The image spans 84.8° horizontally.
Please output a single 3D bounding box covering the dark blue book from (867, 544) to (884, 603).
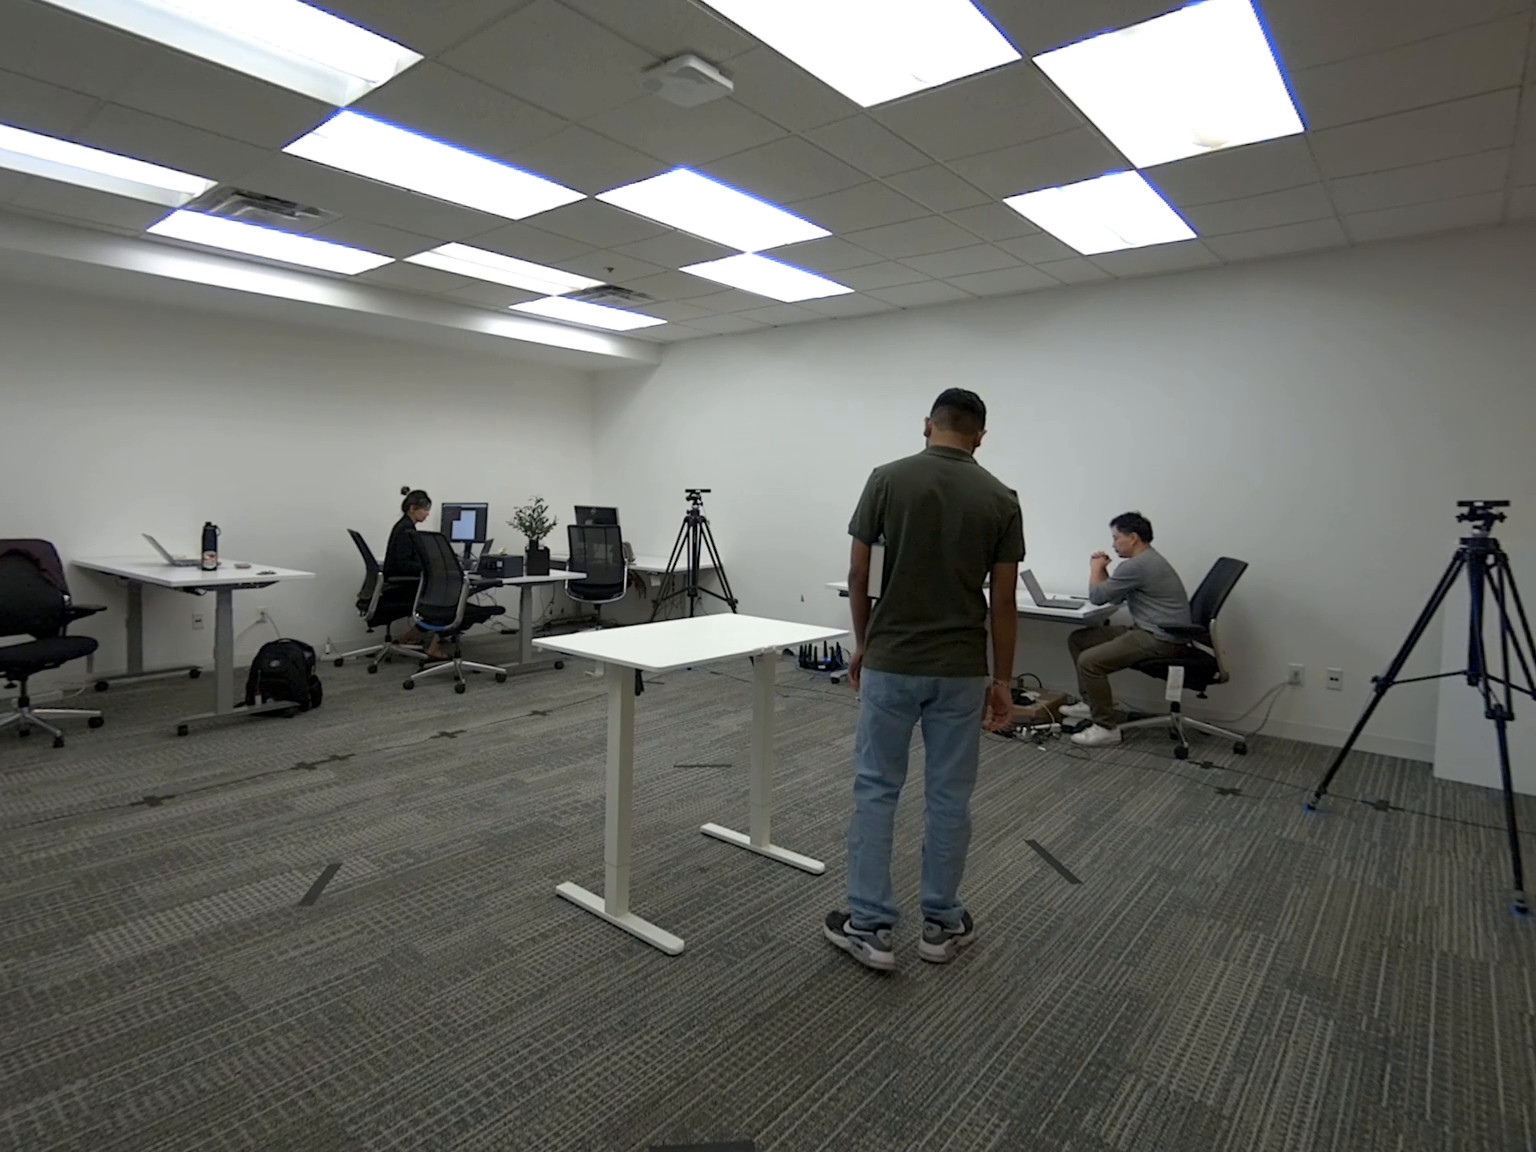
[{"bbox_3d":[0.298,-0.046,2.611,0.045,0.161,0.247,5,16,4],"label":"dark blue book"}]
